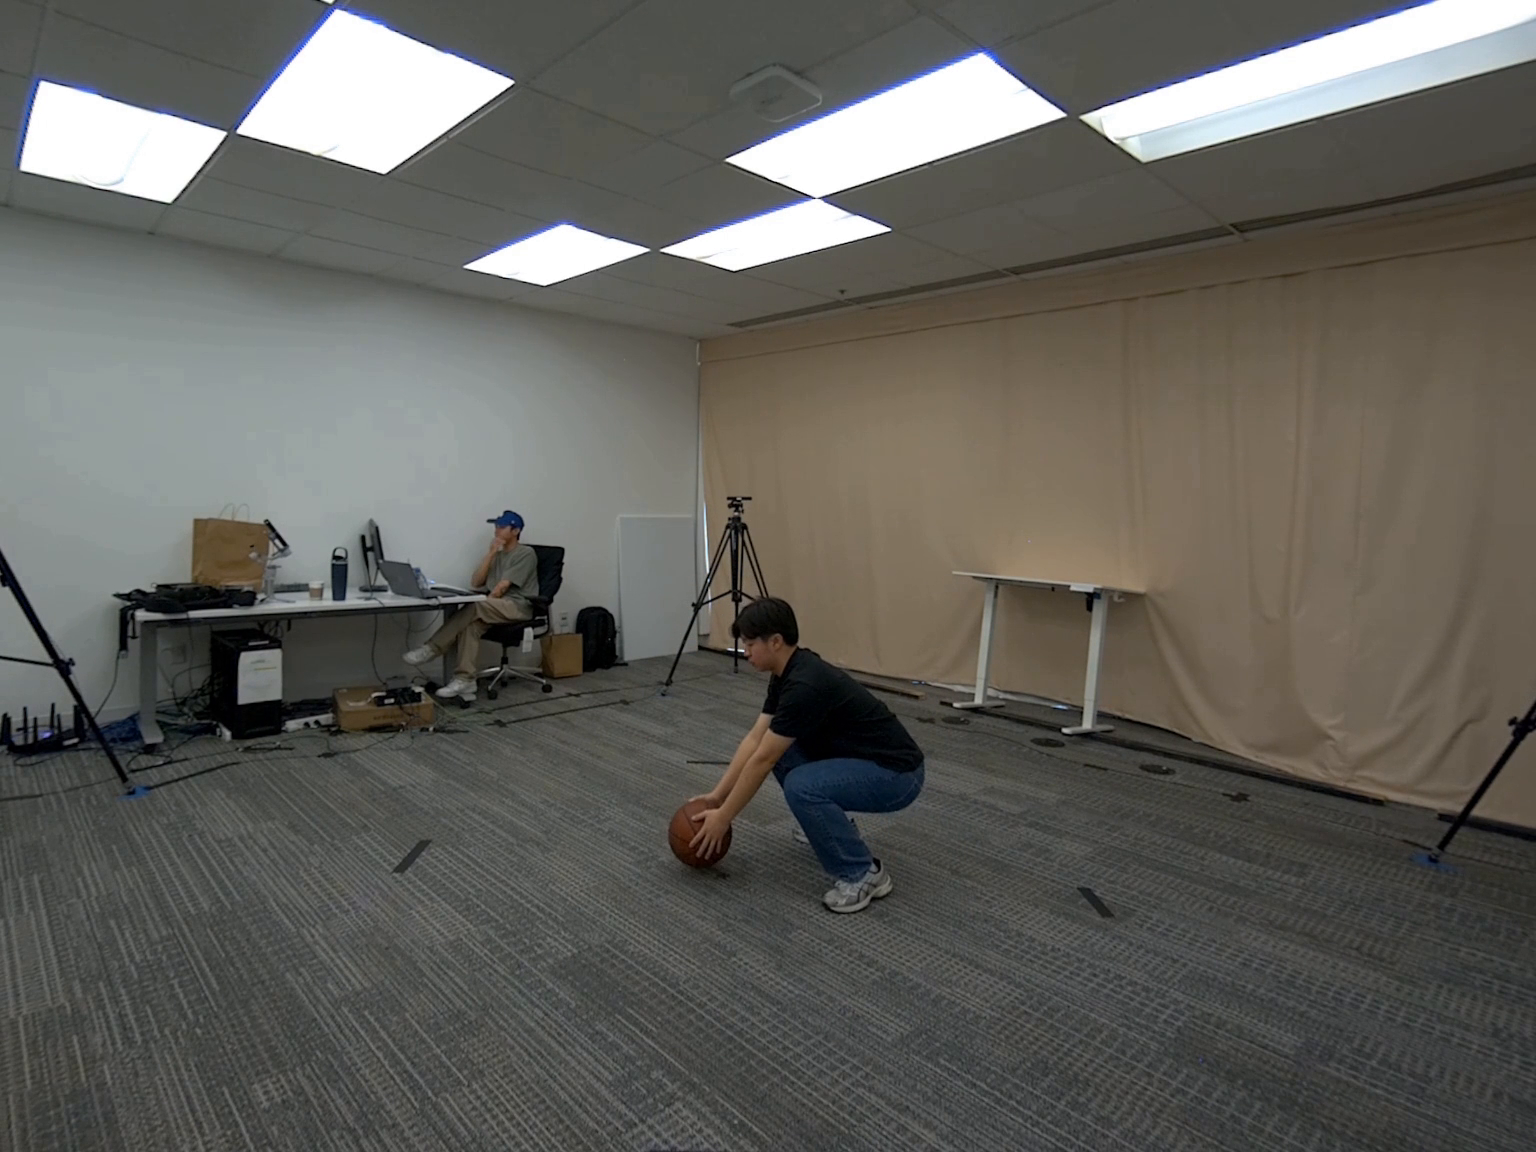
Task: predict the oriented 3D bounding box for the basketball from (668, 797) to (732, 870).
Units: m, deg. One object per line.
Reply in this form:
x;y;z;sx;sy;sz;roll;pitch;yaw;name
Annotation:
-0.253;0.953;3.127;0.236;0.235;0.237;1;4;-1;basketball
